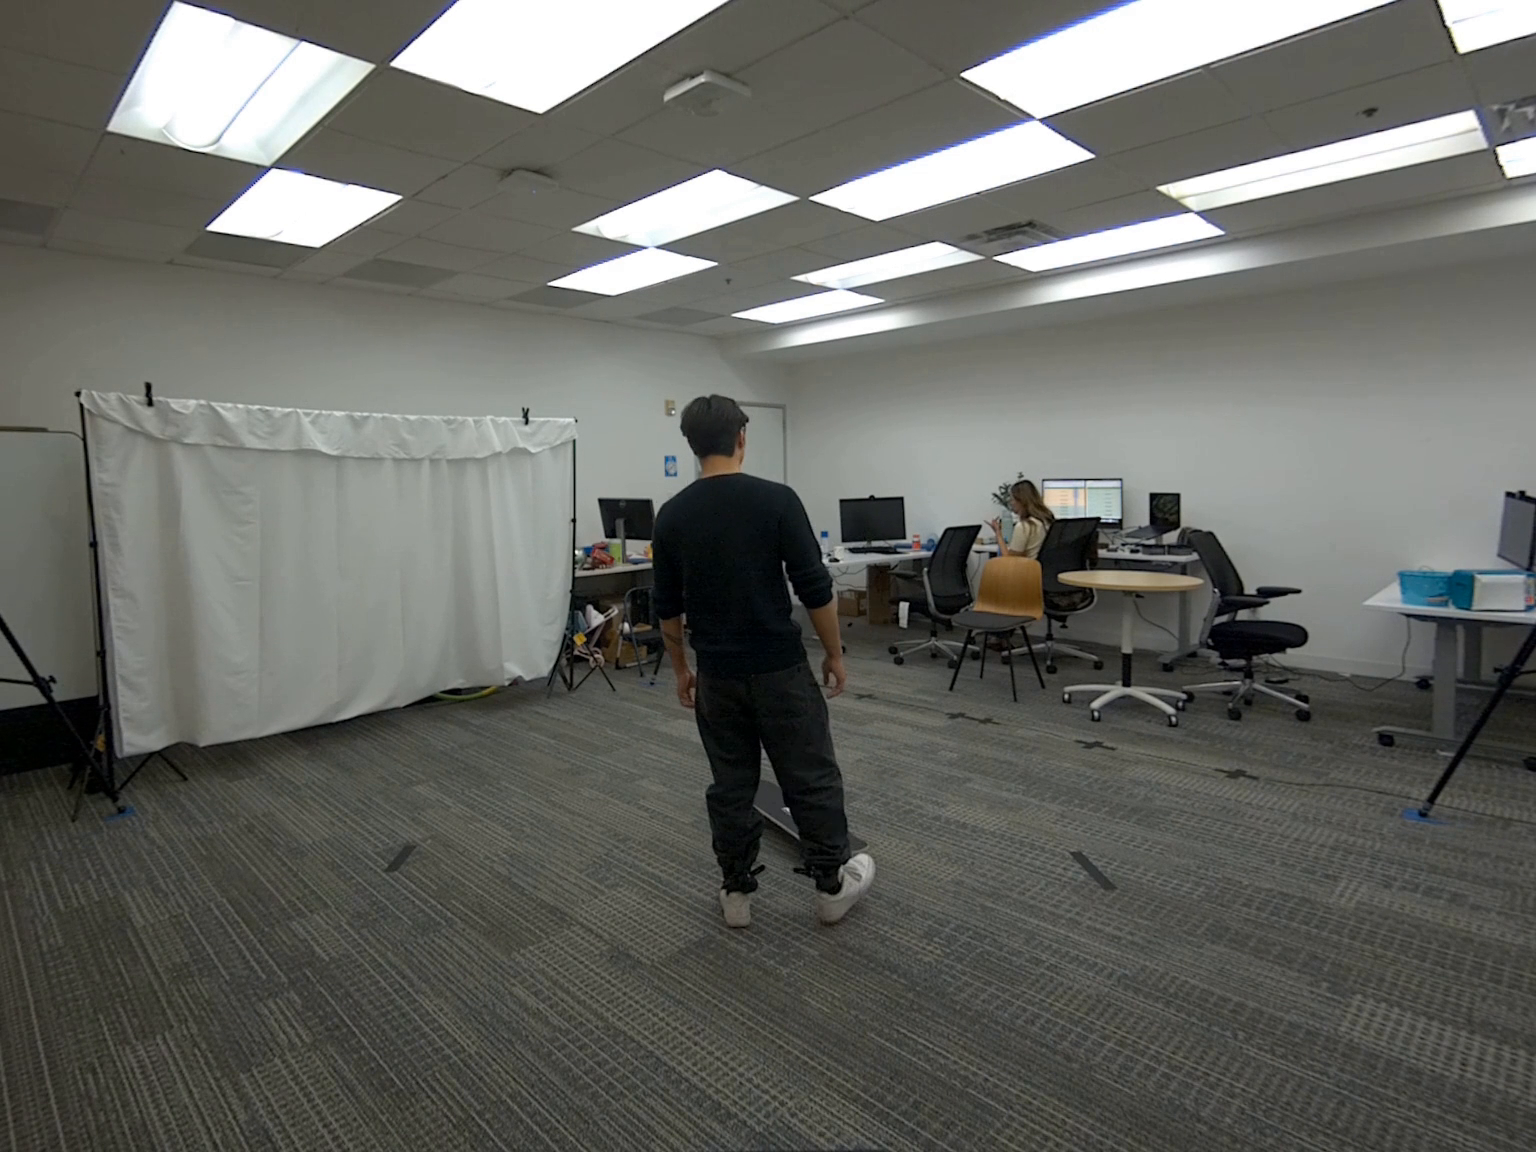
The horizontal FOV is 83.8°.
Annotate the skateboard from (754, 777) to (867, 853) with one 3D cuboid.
[{"bbox_3d":[0.119,0.959,3.293,0.189,0.110,0.806,-3,6,-28],"label":"skateboard"}]
